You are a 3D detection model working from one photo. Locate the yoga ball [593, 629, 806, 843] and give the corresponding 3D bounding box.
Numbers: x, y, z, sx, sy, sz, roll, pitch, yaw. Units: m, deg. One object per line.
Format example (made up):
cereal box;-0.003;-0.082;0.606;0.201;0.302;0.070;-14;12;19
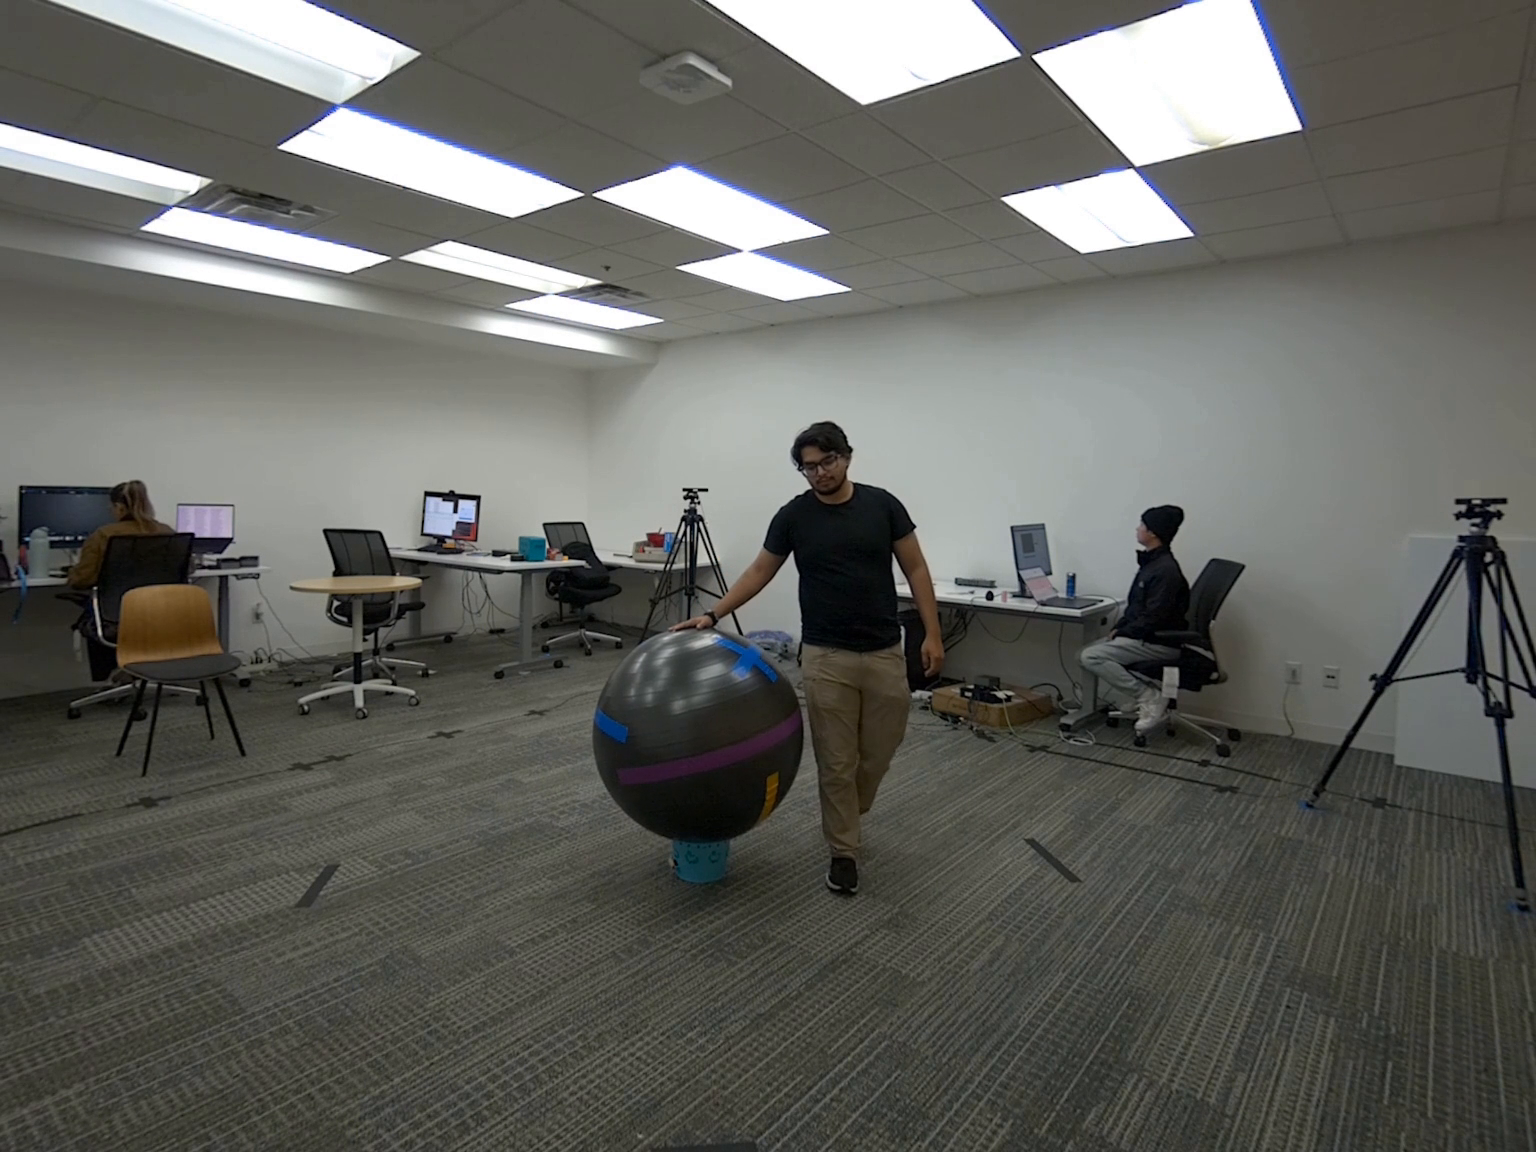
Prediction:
yoga ball;-0.266;0.563;3.067;0.757;0.756;0.762;1;4;-2
